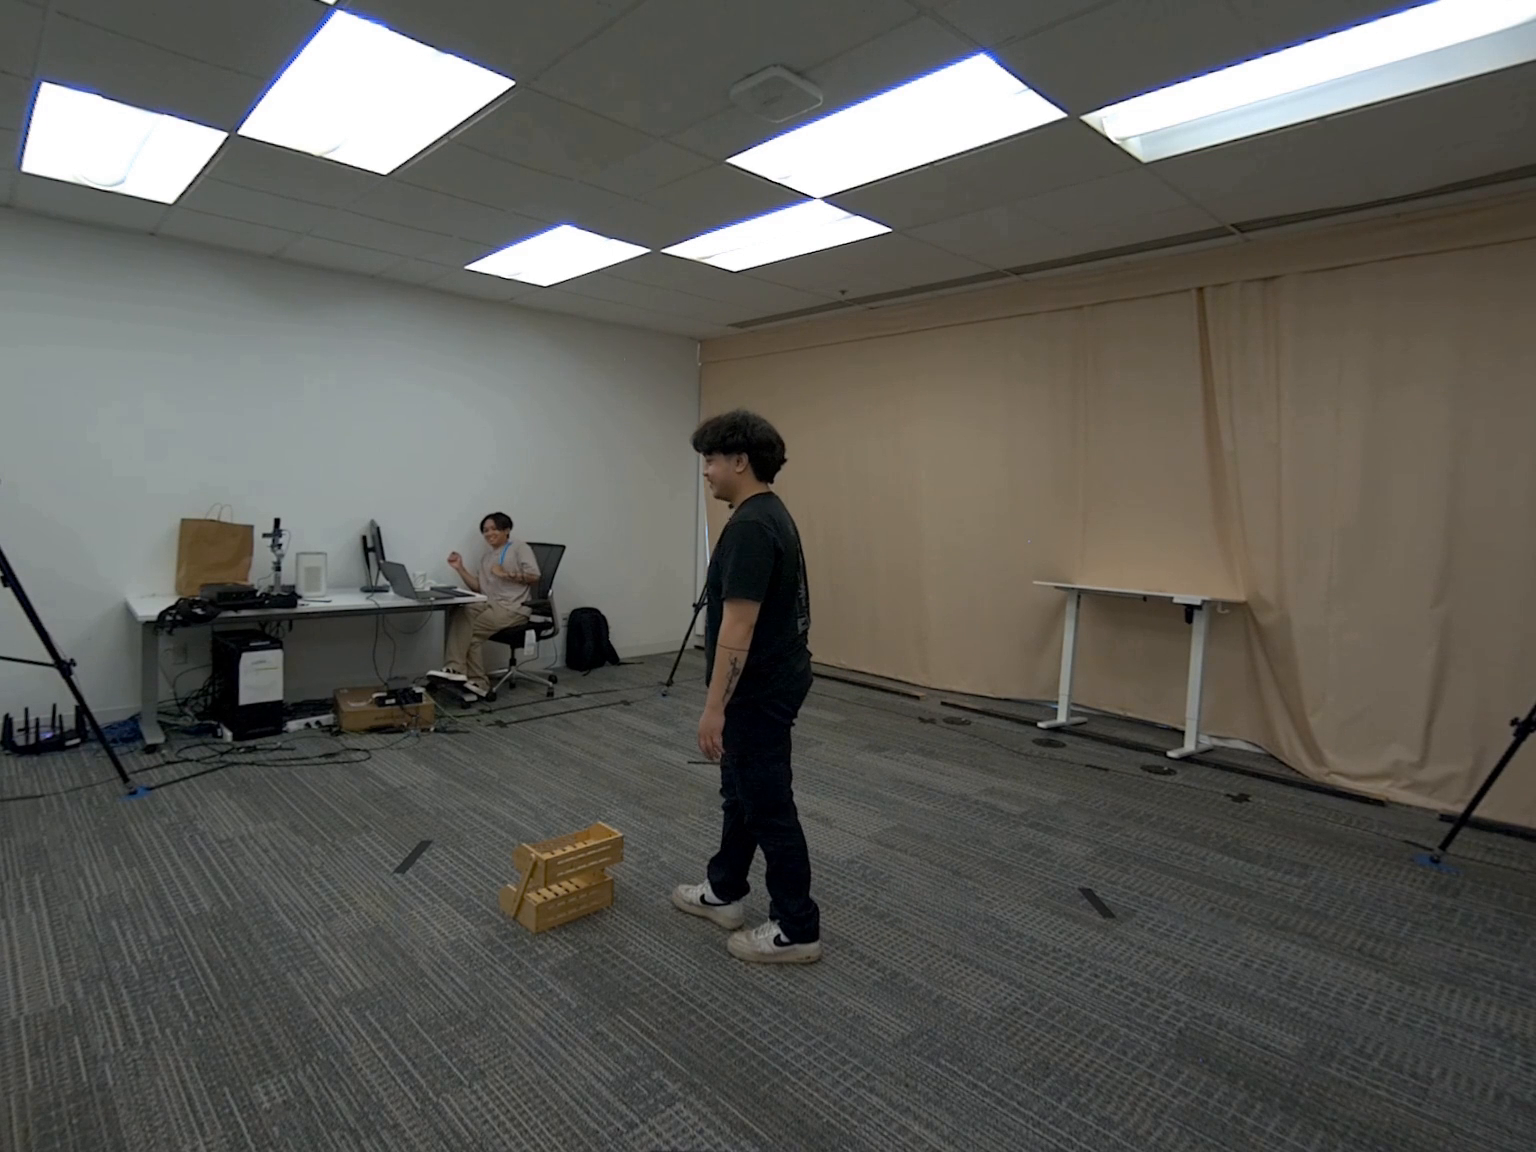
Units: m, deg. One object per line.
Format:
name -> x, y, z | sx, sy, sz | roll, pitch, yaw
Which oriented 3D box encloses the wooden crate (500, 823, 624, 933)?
wooden crate -> -0.707, 0.989, 2.831 | 0.317, 0.272, 0.310 | -3, 7, -44
